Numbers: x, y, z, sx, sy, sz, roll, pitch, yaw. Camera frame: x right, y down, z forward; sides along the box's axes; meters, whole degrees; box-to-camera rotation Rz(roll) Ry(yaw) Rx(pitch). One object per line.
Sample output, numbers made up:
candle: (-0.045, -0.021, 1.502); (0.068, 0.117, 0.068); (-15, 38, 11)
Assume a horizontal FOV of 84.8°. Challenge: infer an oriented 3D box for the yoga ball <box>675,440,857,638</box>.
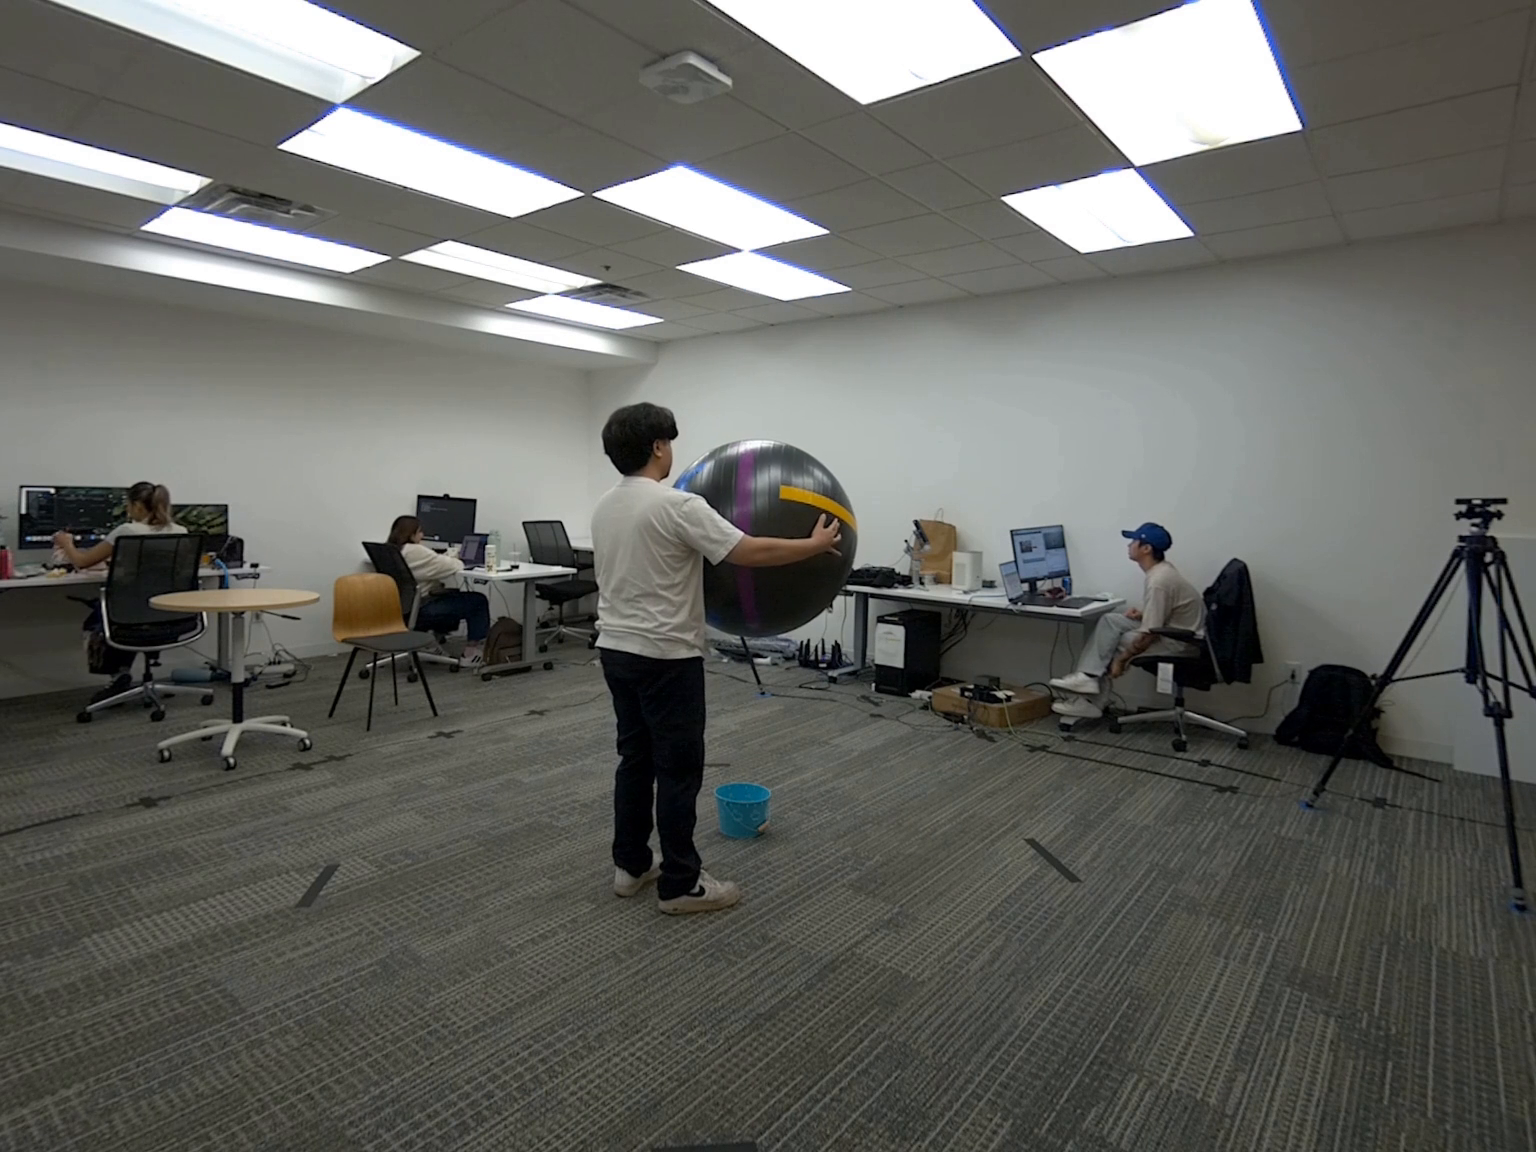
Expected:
yoga ball: (-0.045, -0.140, 3.278); (0.757, 0.755, 0.762); (1, 4, -2)
